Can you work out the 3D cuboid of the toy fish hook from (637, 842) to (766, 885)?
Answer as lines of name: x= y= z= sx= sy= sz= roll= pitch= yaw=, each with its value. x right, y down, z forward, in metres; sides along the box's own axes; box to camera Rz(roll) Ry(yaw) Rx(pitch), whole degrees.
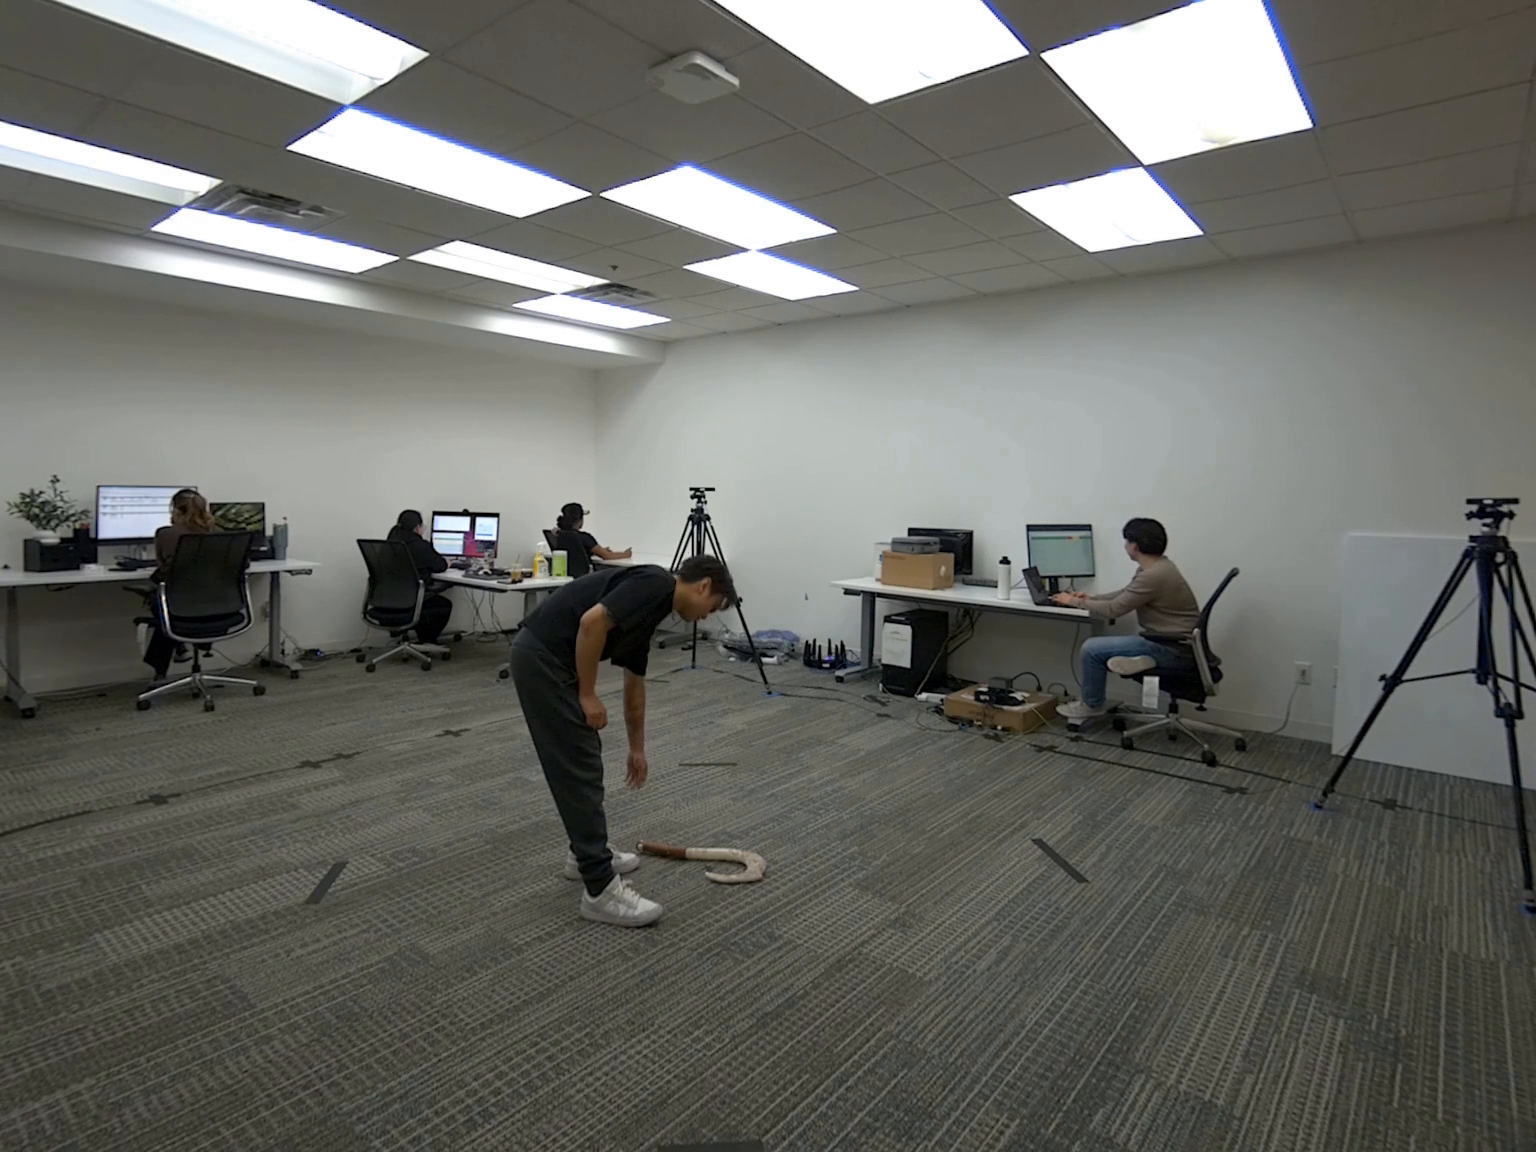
toy fish hook: x=-0.271 y=1.043 z=3.122 sx=0.515 sy=0.048 sz=0.221 roll=2 pitch=4 yaw=14
